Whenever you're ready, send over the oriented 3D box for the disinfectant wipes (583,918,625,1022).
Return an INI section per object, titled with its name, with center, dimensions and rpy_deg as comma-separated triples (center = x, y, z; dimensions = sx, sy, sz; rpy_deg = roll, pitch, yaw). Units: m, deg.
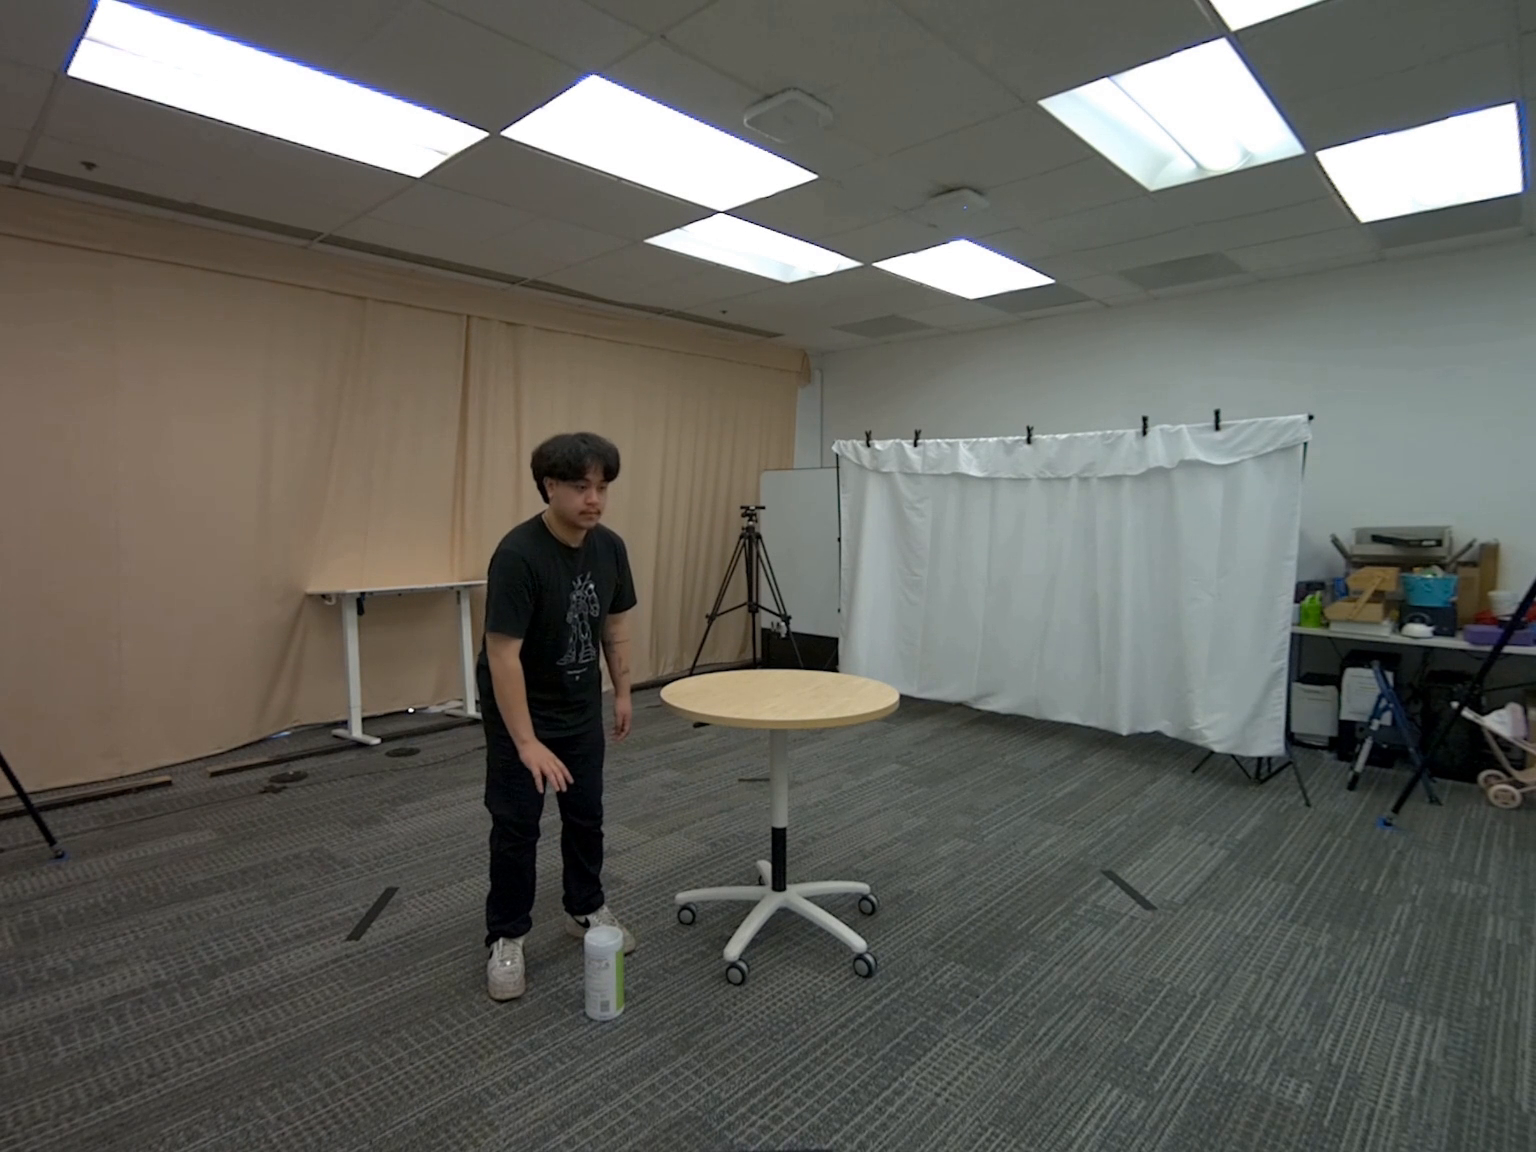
[disinfectant wipes]
center = -0.459, 1.093, 2.322
dimensions = 0.118, 0.217, 0.118
rpy_deg = 1, 3, -2
